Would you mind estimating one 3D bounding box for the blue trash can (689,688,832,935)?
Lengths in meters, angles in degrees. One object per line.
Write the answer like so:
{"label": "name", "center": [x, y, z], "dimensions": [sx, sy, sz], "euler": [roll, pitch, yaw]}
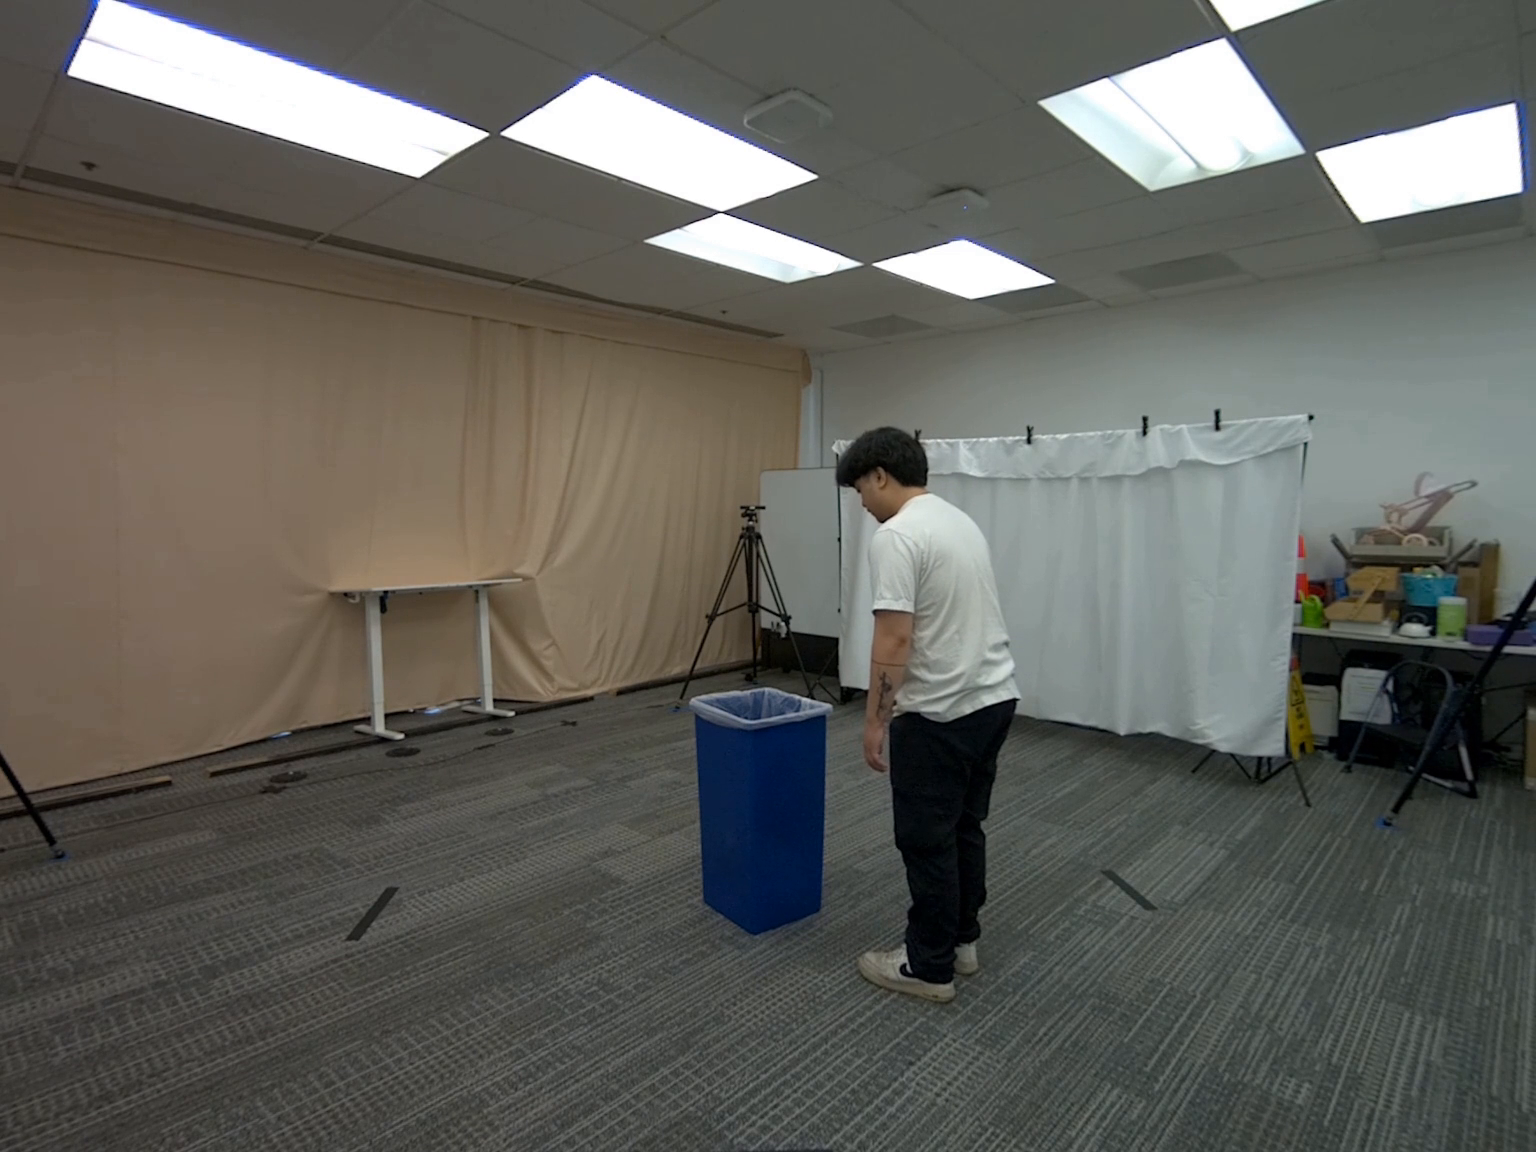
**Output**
{"label": "blue trash can", "center": [-0.027, 0.792, 2.906], "dimensions": [0.363, 0.712, 0.390], "euler": [-2, 4, -37]}
